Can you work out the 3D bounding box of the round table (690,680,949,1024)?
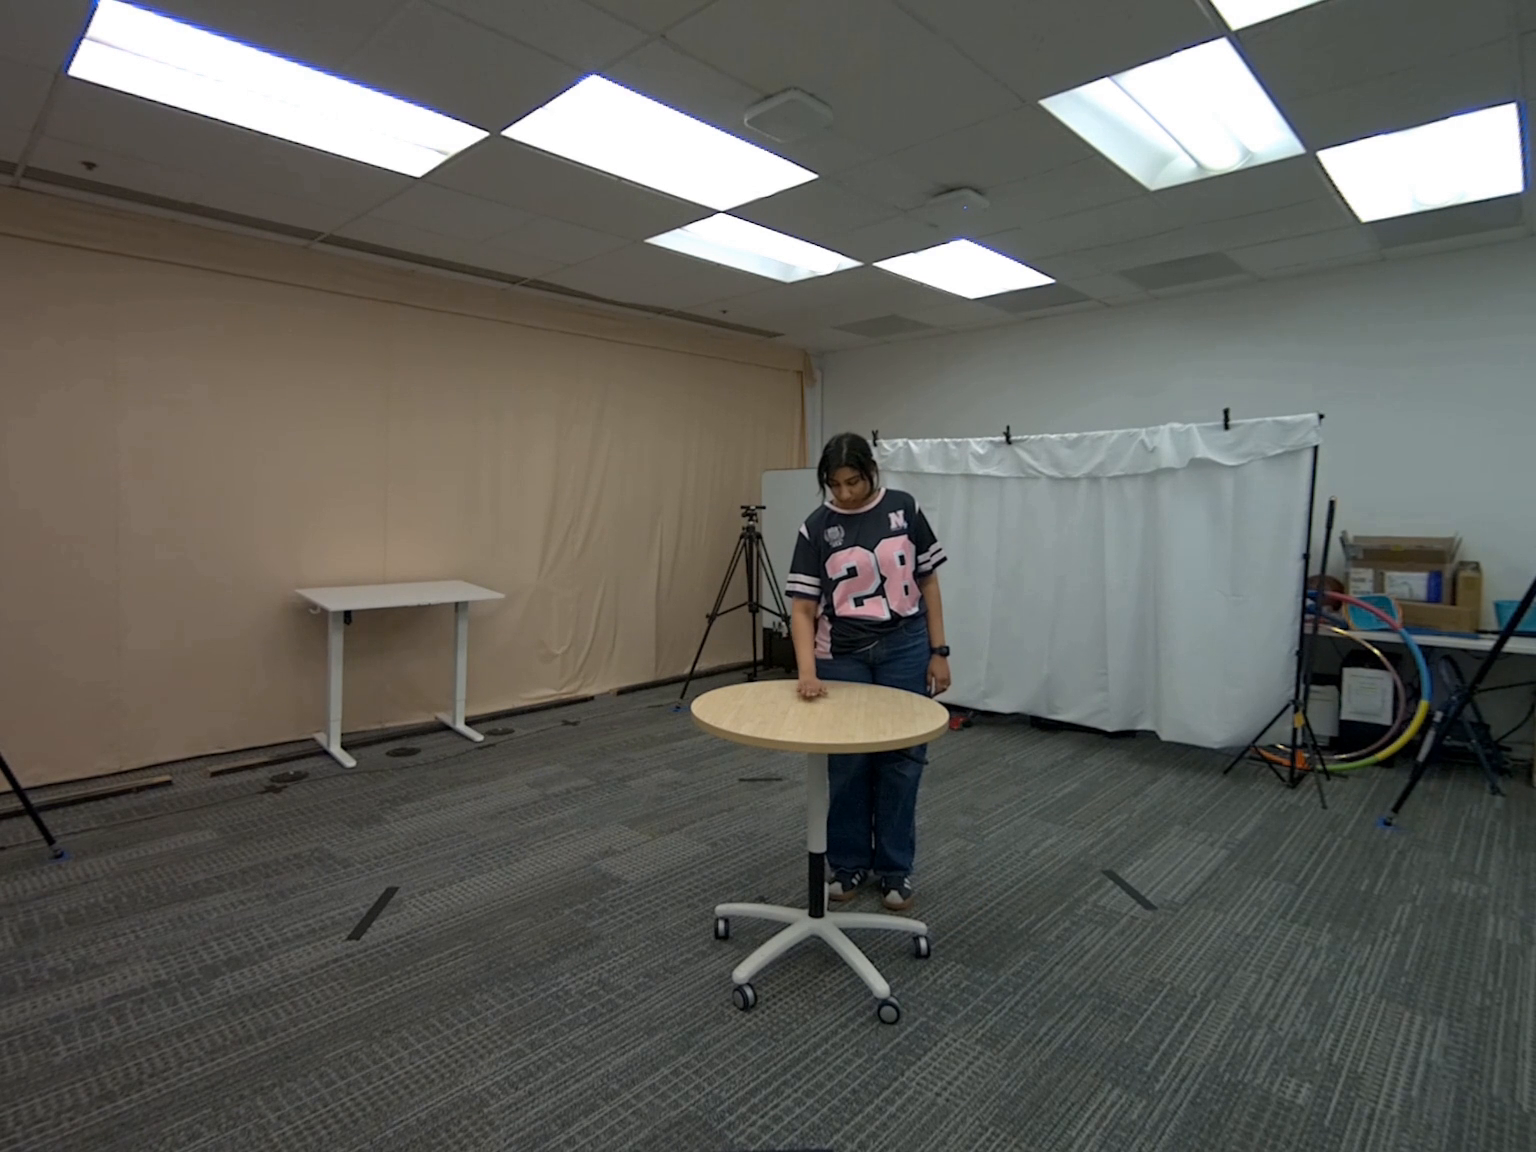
[{"bbox_3d":[0.162,0.789,2.551,0.784,0.785,0.788,0,4,-2],"label":"round table"}]
